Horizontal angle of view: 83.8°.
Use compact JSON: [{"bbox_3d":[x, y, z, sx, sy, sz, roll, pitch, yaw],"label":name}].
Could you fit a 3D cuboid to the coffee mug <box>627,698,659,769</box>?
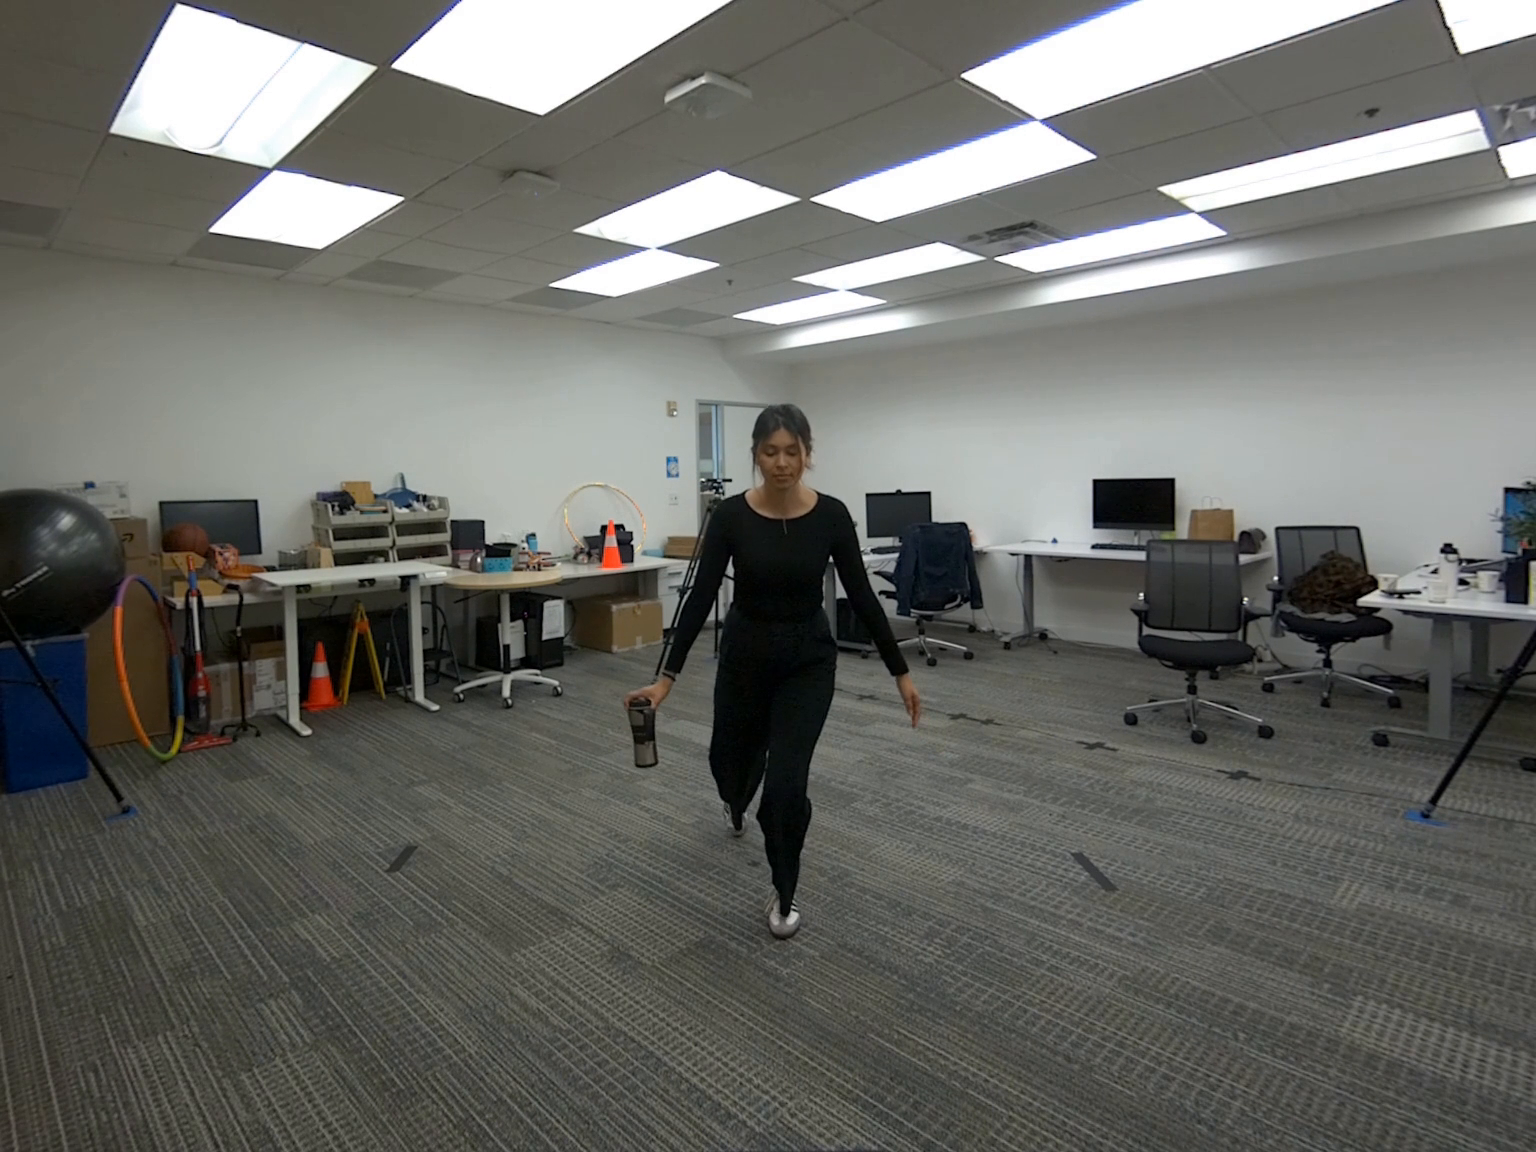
[{"bbox_3d":[-0.378,0.484,2.592,0.088,0.203,0.121,-6,-1,8],"label":"coffee mug"}]
